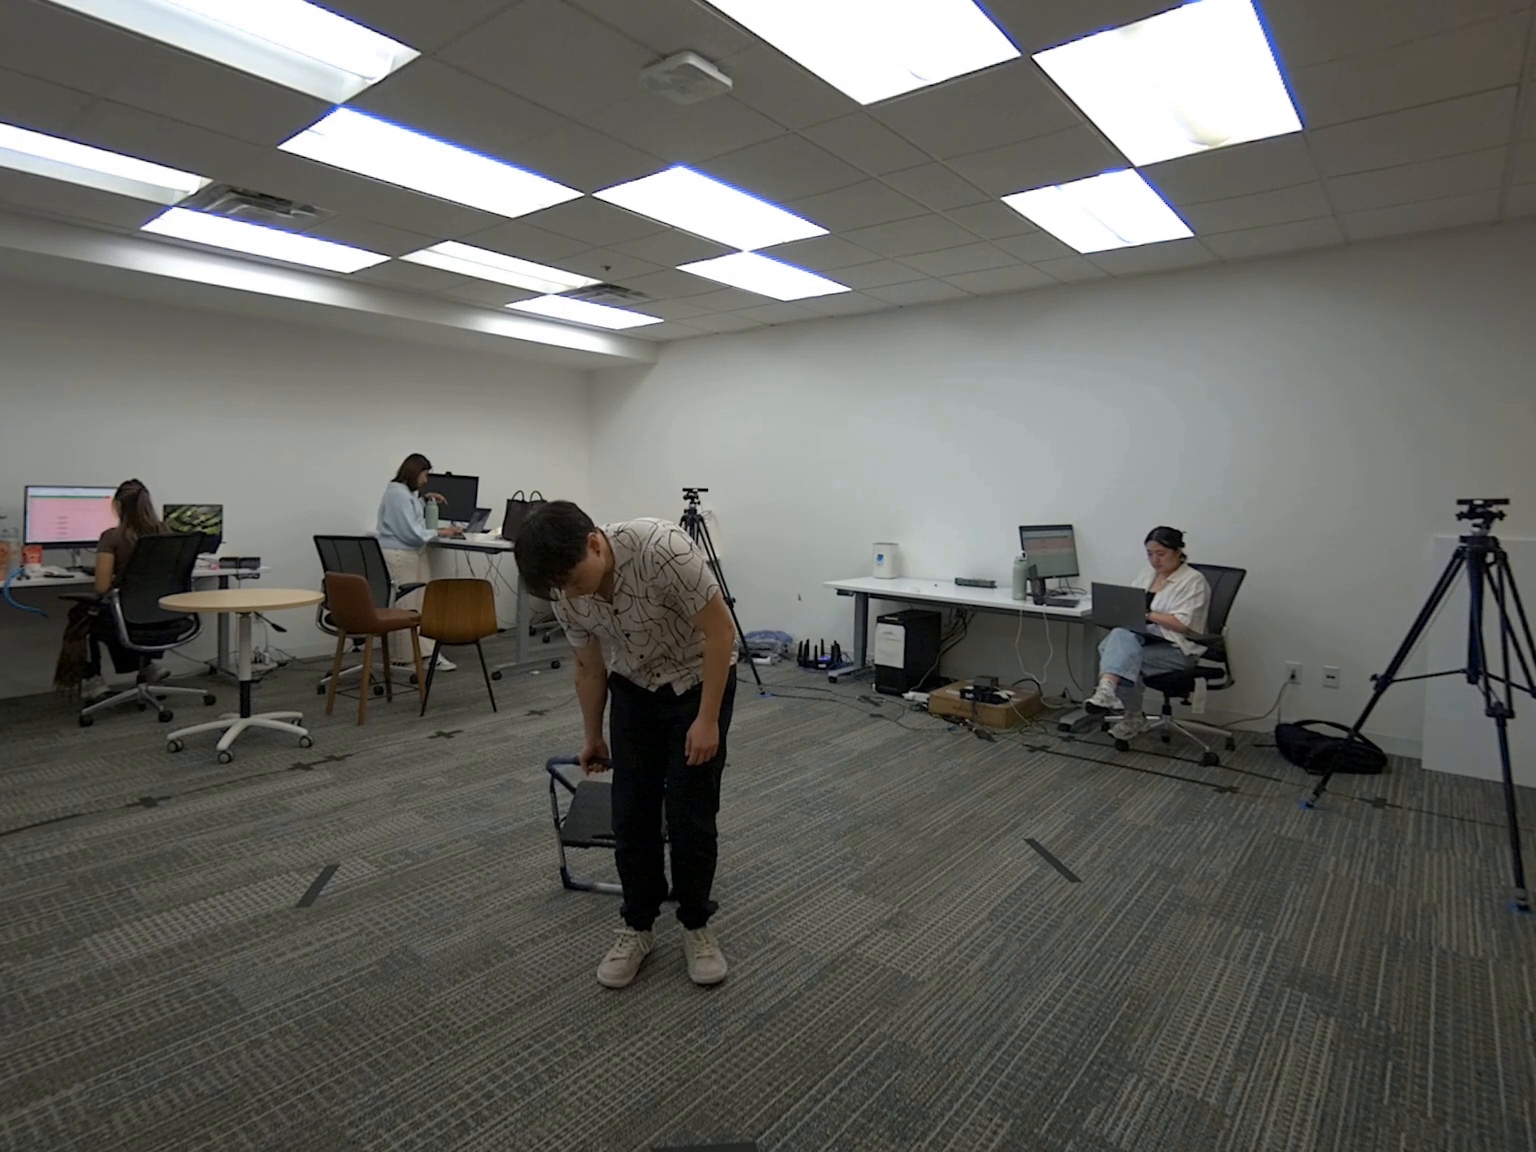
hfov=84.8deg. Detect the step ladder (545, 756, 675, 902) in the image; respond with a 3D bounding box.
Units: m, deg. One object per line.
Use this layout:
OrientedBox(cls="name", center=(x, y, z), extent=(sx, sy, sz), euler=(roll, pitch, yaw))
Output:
OrientedBox(cls="step ladder", center=(-0.525, 0.749, 2.853), extent=(0.435, 0.587, 0.356), euler=(2, 39, 9))
